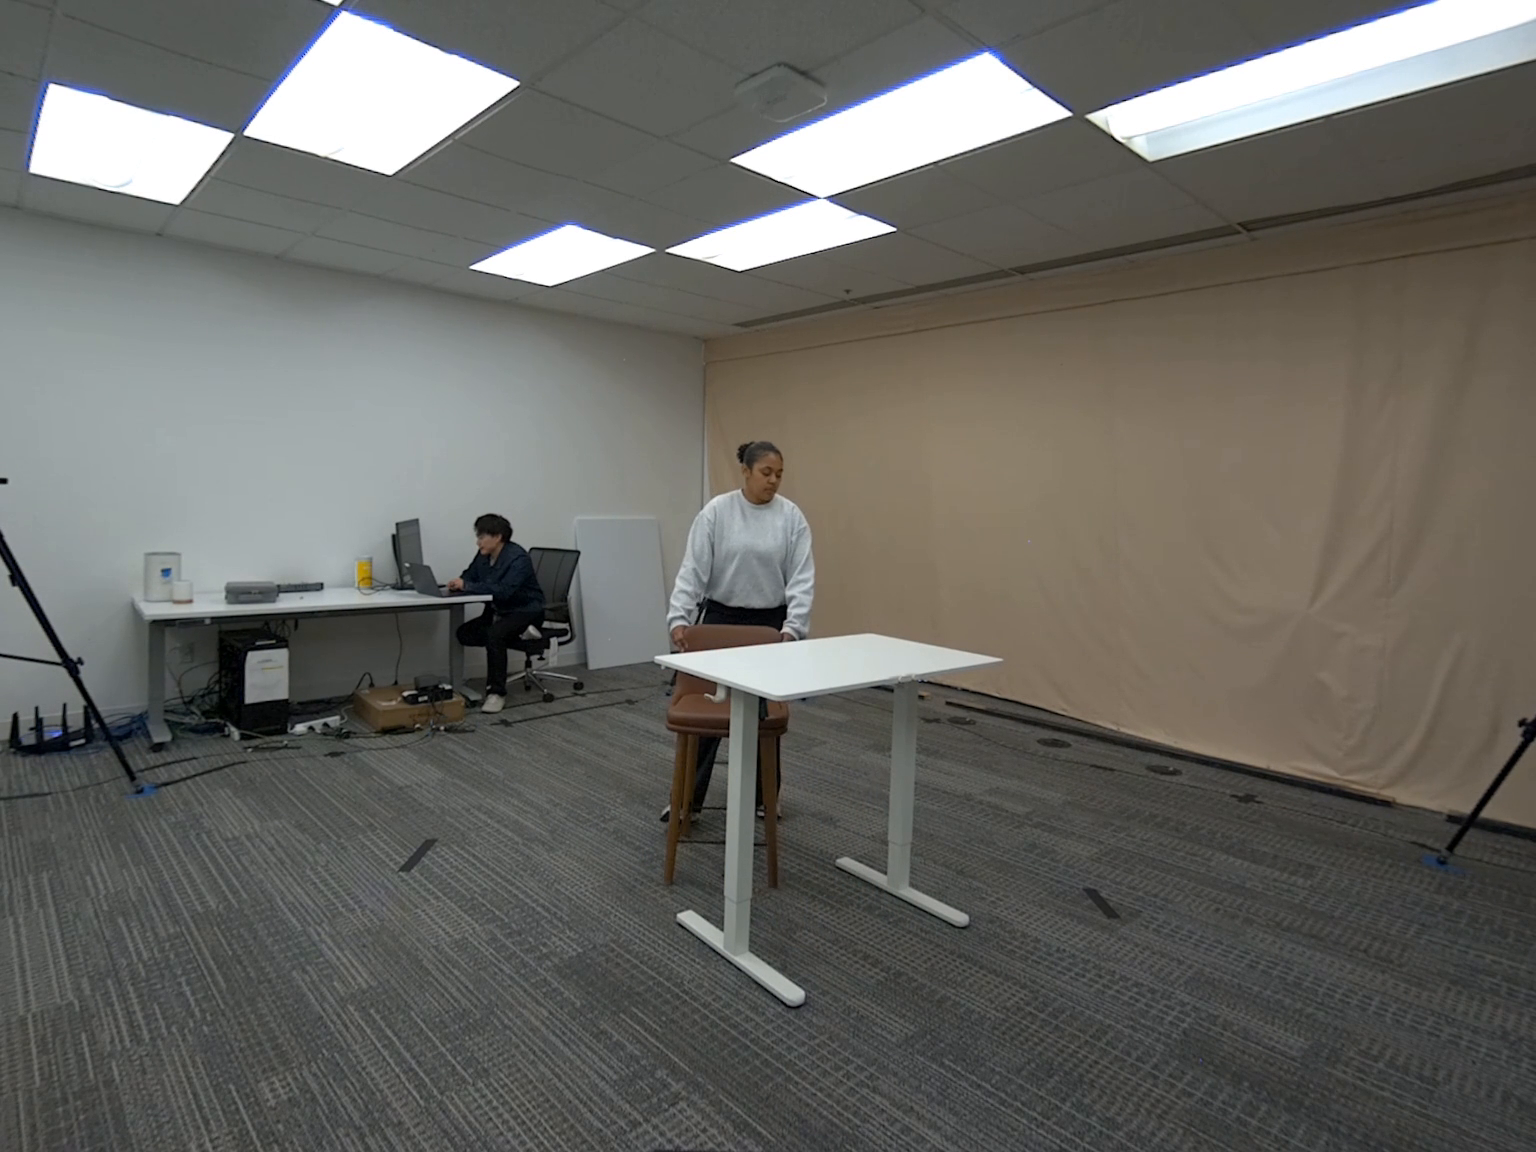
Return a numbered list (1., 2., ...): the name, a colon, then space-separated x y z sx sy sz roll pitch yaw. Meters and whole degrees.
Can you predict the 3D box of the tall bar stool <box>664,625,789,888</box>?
1. tall bar stool: -0.164 0.659 3.224 0.457 0.890 0.467 1 0 2
